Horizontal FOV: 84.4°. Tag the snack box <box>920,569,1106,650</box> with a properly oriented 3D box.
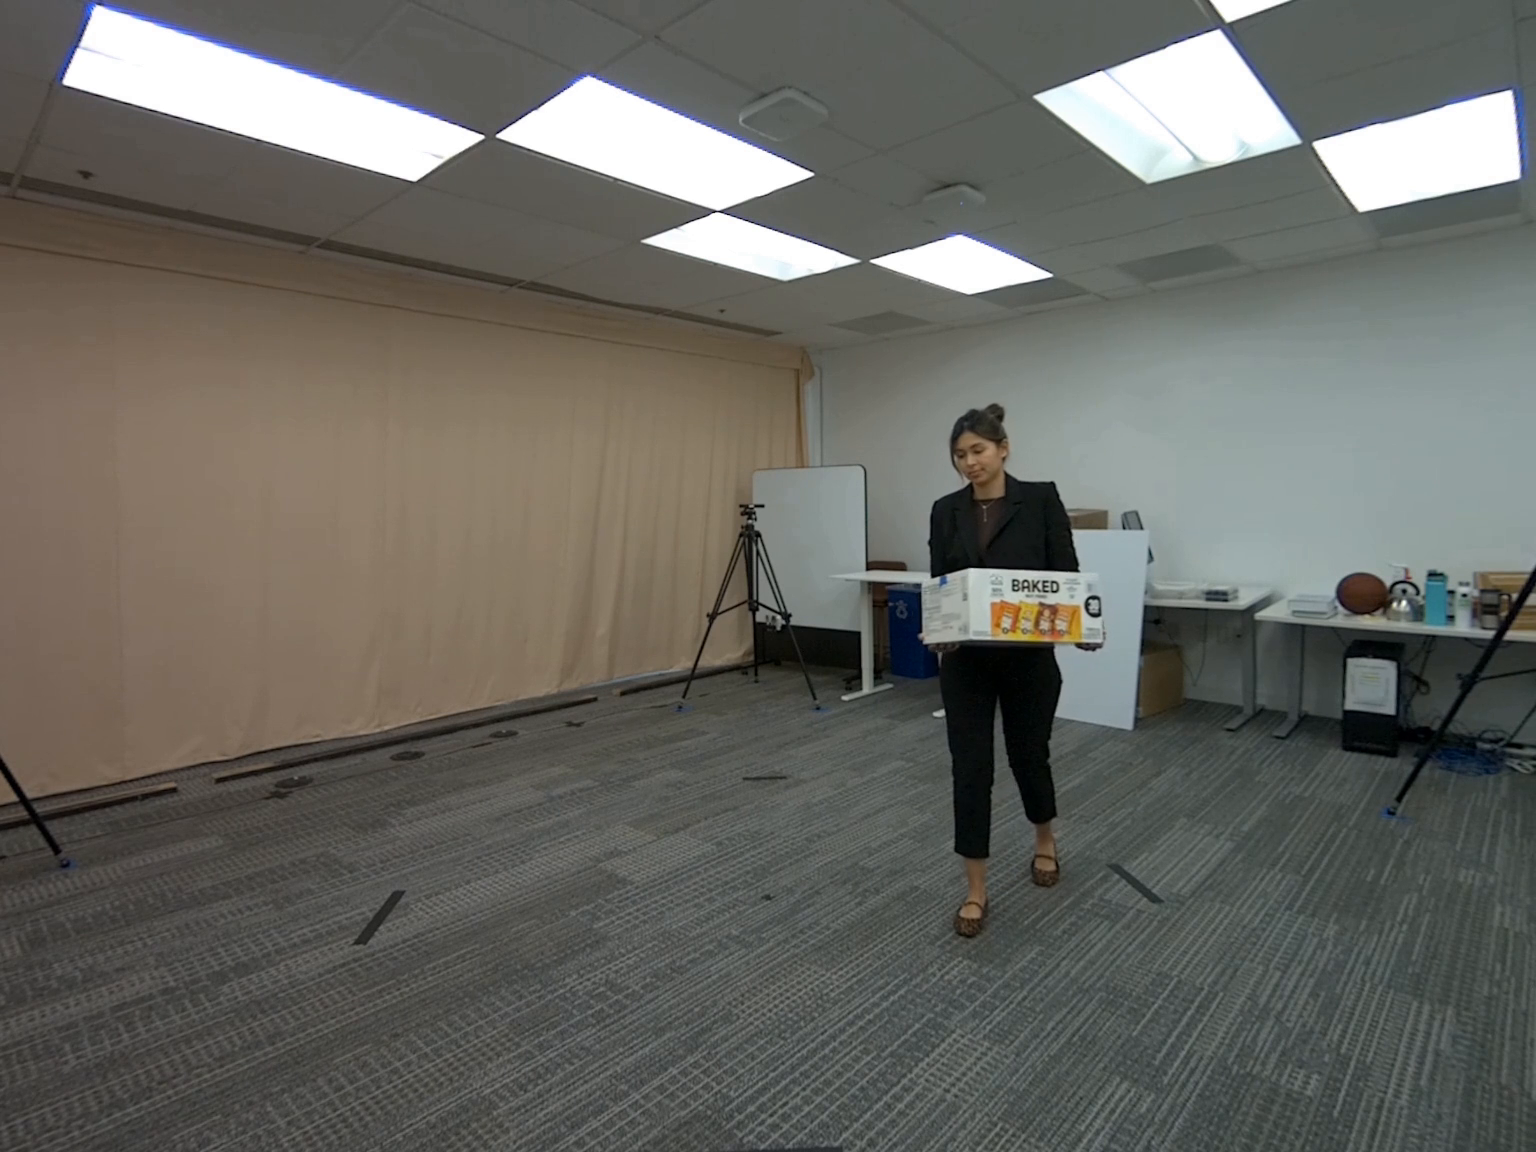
[{"bbox_3d":[0.726,0.105,2.556,0.400,0.207,0.343,2,-8,-12],"label":"snack box"}]
